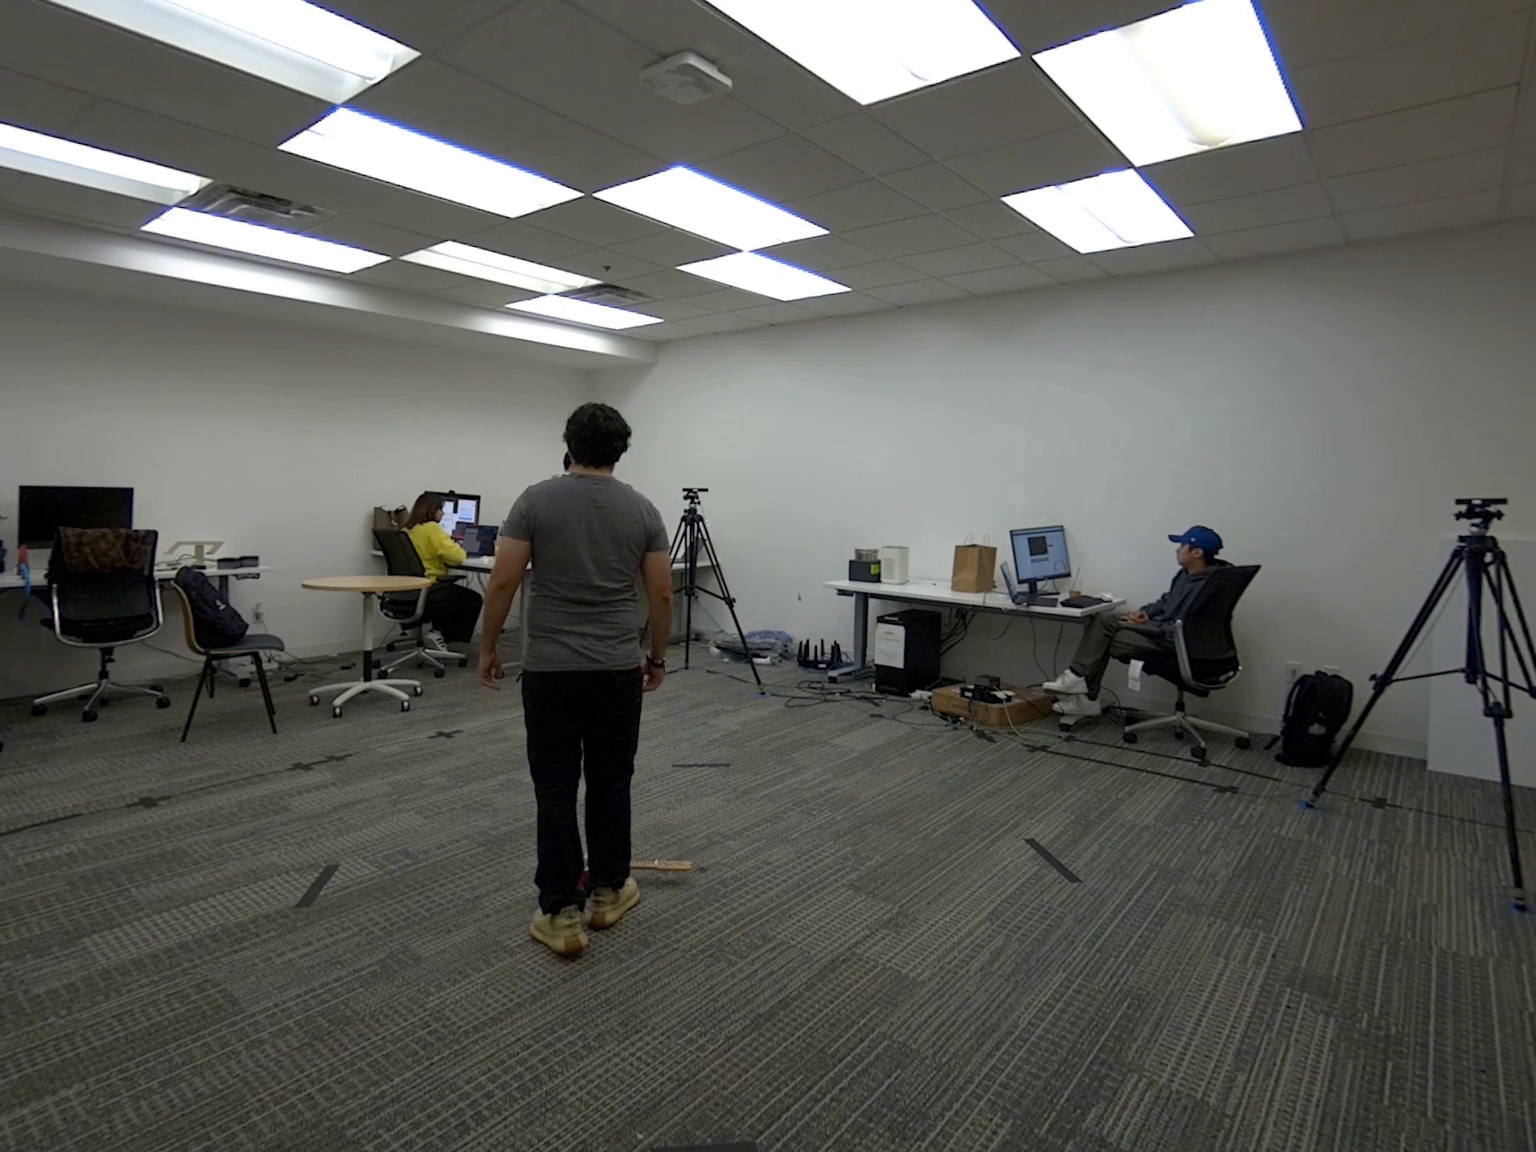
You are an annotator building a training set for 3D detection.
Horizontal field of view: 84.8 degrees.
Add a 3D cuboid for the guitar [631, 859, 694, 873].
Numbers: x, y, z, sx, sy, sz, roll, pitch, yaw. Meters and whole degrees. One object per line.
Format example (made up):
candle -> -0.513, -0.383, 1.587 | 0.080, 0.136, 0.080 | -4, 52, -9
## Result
guitar -> -0.526, 1.037, 2.980 | 0.504, 0.070, 0.191 | 1, 4, 11
